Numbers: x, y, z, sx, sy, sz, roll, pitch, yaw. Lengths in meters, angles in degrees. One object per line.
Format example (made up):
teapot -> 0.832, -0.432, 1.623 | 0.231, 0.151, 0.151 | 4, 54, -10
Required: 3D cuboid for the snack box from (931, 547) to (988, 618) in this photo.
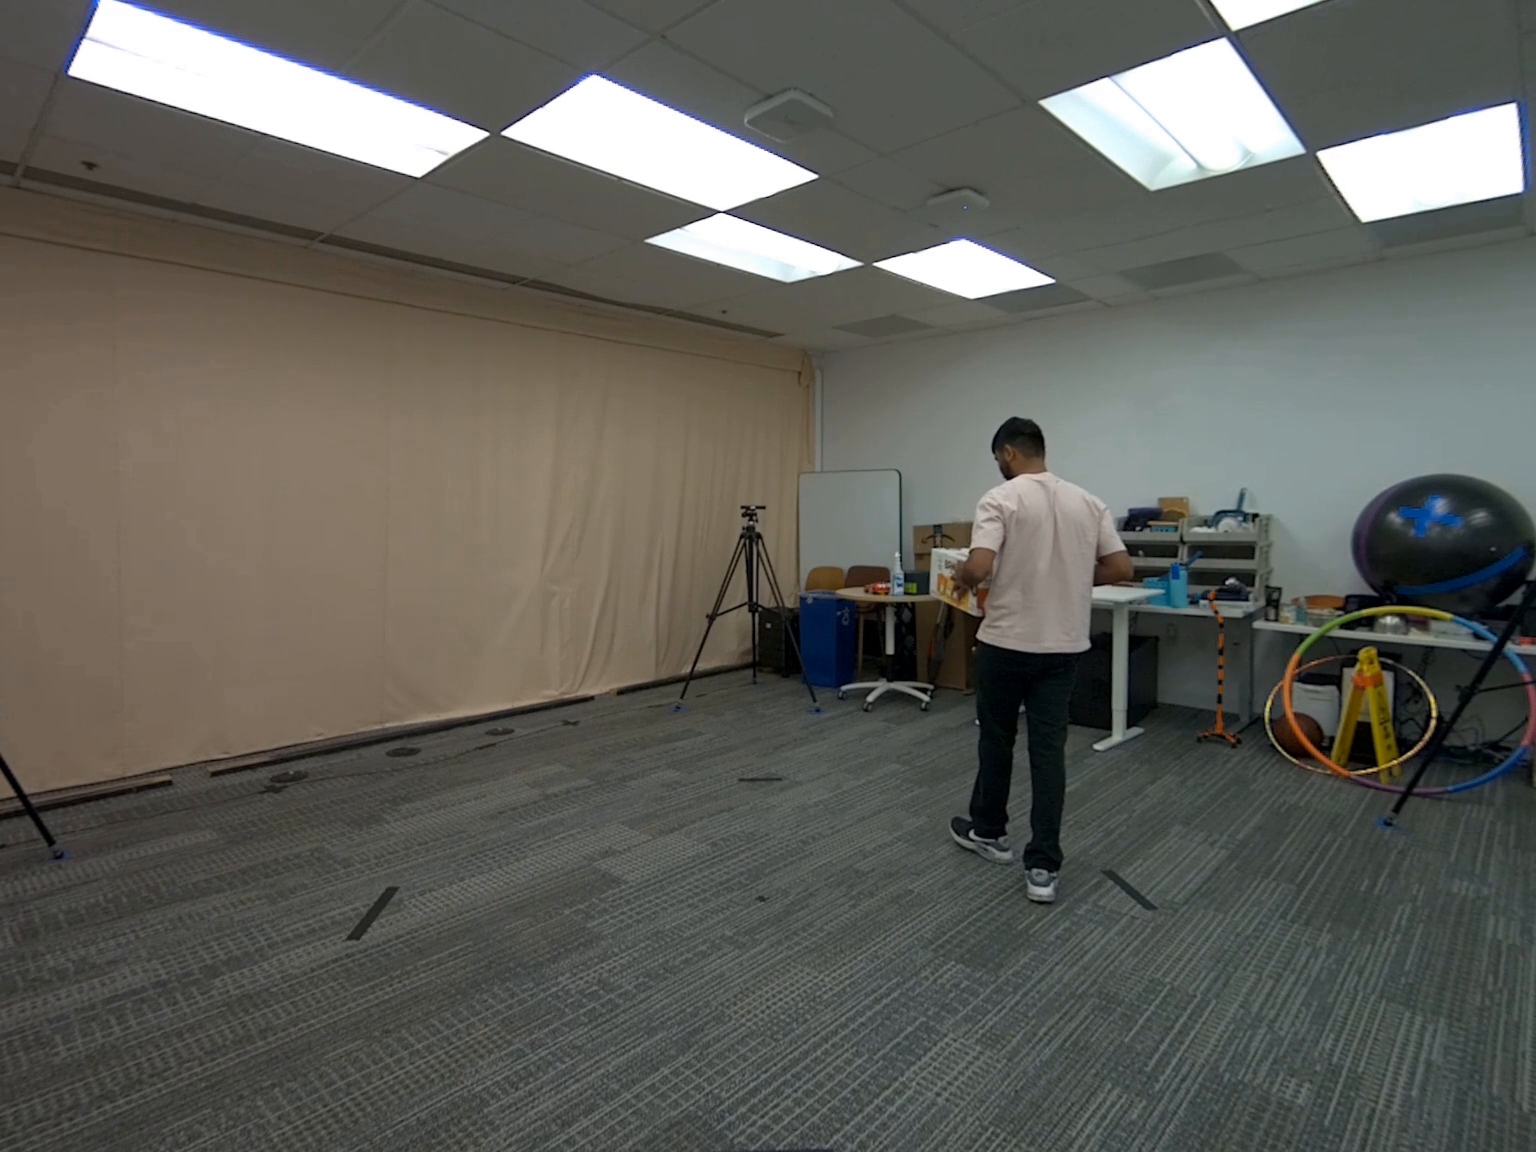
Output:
snack box -> 0.909, 0.014, 3.405 | 0.336, 0.204, 0.413 | -1, 10, -14
